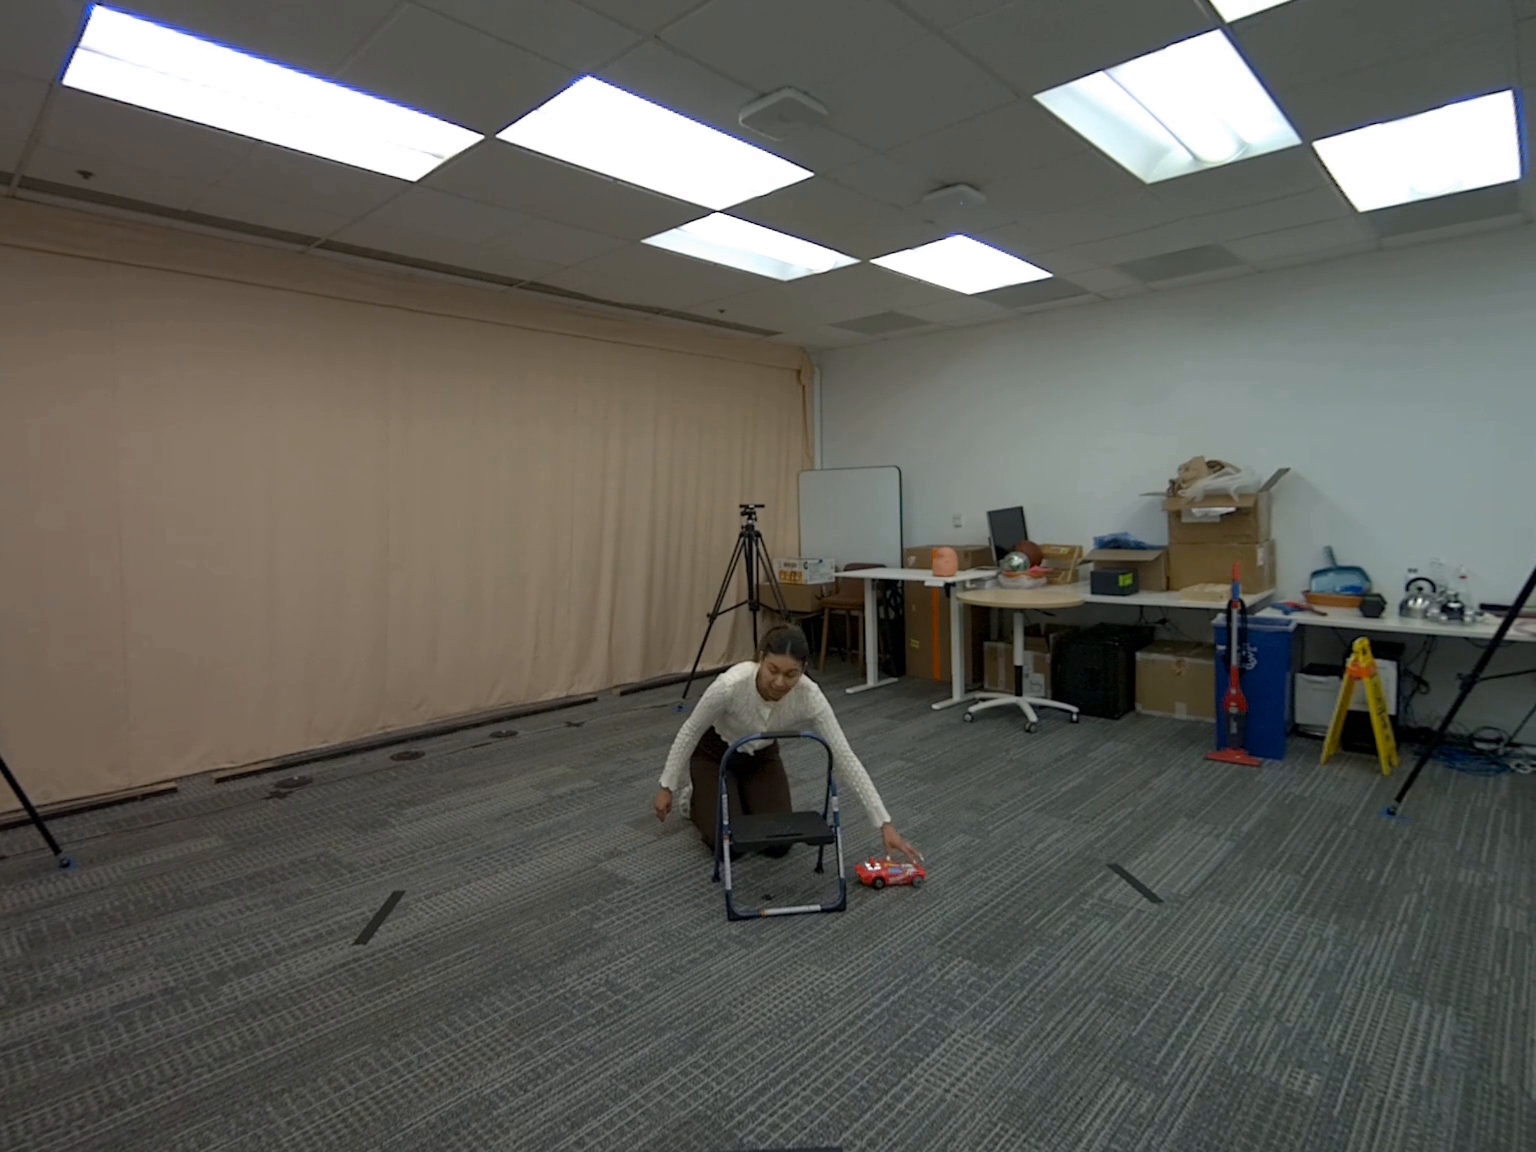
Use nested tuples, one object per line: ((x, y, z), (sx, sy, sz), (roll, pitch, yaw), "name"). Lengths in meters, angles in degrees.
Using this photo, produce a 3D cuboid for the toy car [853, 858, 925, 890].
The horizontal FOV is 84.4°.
((0.442, 1.089, 3.078), (0.253, 0.083, 0.131), (11, 3, -4), "toy car")
